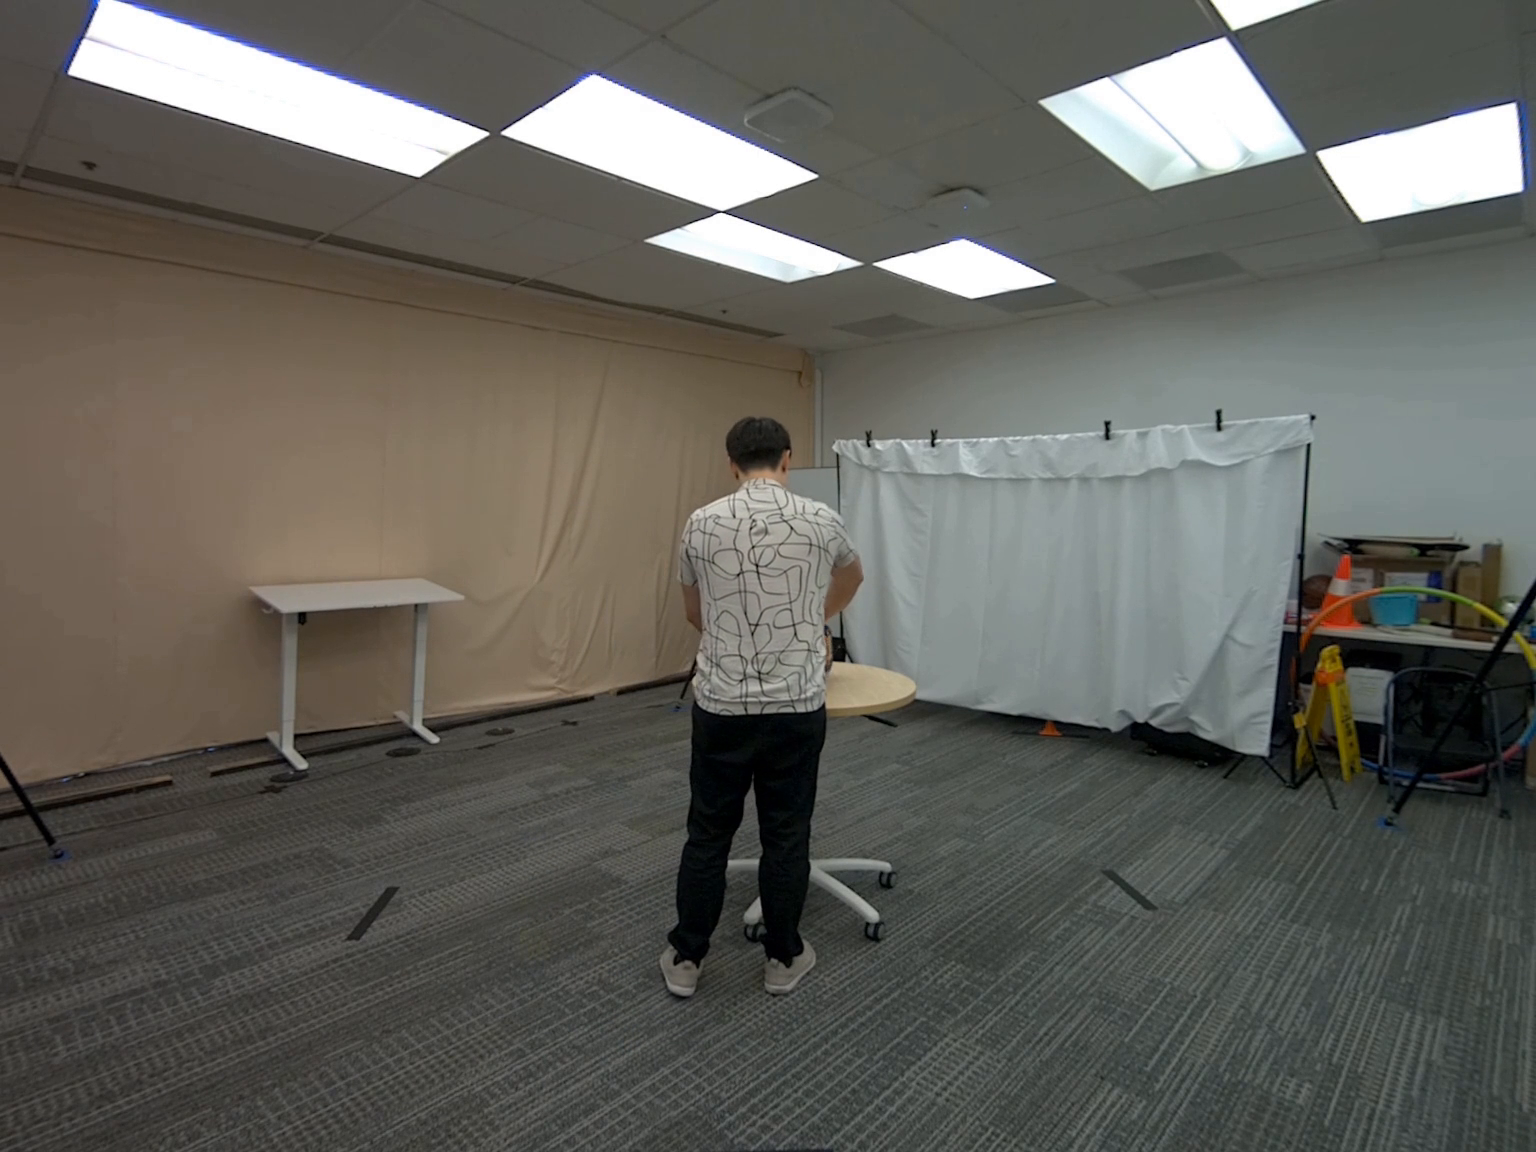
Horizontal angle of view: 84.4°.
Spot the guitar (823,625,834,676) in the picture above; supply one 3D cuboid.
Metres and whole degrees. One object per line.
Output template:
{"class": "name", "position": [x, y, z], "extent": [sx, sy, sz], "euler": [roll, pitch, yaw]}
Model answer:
{"class": "guitar", "position": [0.069, 0.279, 2.824], "extent": [0.073, 0.192, 0.483], "euler": [3, 7, 39]}
